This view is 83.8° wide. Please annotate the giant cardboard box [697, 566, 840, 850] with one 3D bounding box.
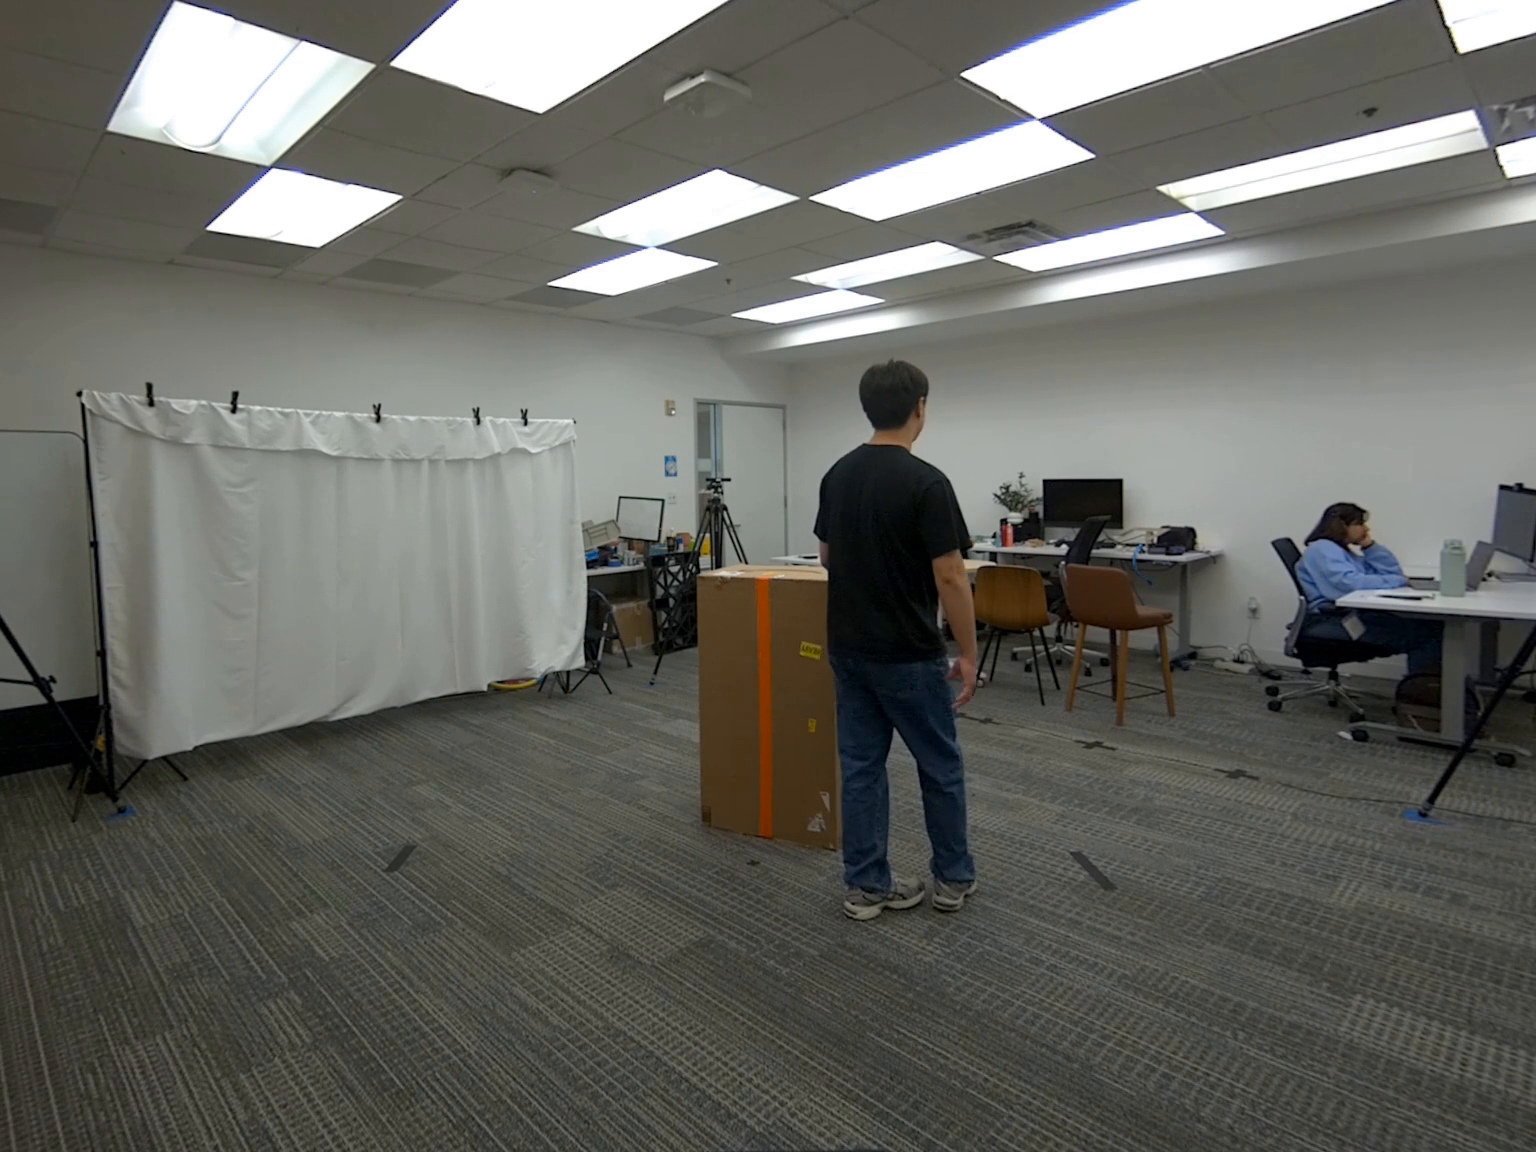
[{"bbox_3d":[0.070,0.486,3.471,0.598,1.022,0.438,2,6,27],"label":"giant cardboard box"}]
